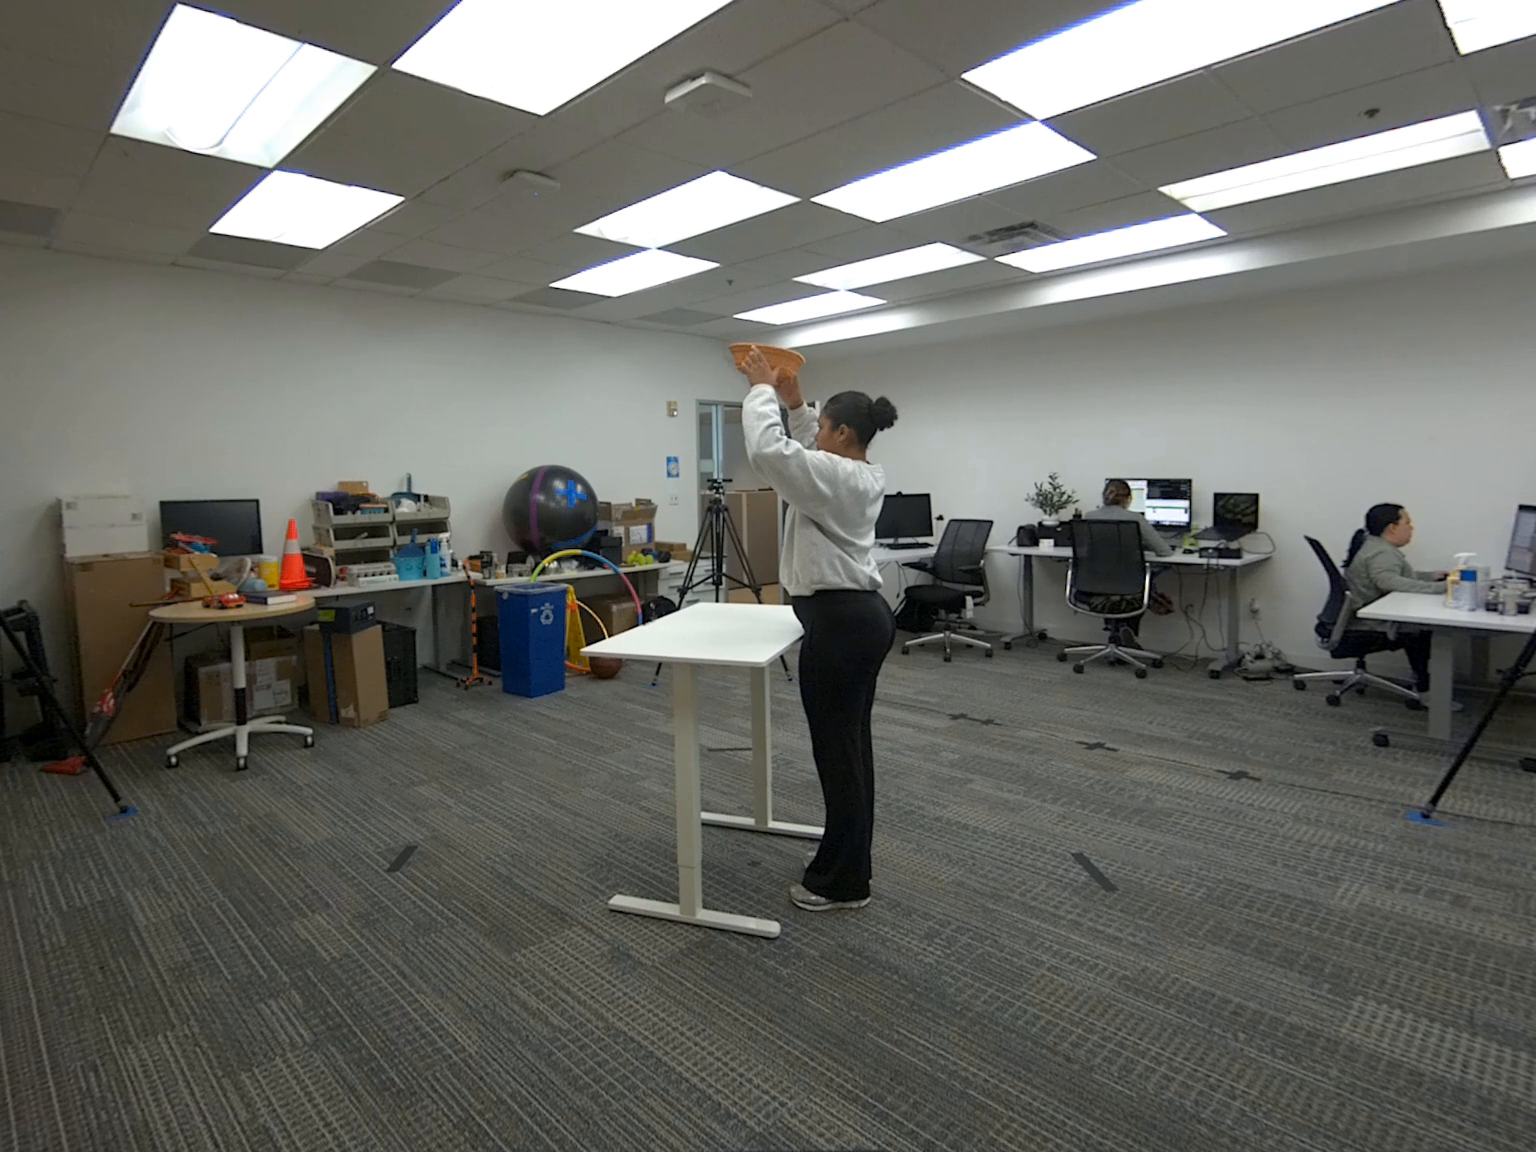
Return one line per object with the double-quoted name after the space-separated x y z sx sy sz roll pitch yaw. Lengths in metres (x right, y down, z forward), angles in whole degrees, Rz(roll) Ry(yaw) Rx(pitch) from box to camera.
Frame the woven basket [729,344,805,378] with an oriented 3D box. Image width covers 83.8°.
0.008 -0.728 2.924 0.258 0.073 0.344 6 5 22 "woven basket"
